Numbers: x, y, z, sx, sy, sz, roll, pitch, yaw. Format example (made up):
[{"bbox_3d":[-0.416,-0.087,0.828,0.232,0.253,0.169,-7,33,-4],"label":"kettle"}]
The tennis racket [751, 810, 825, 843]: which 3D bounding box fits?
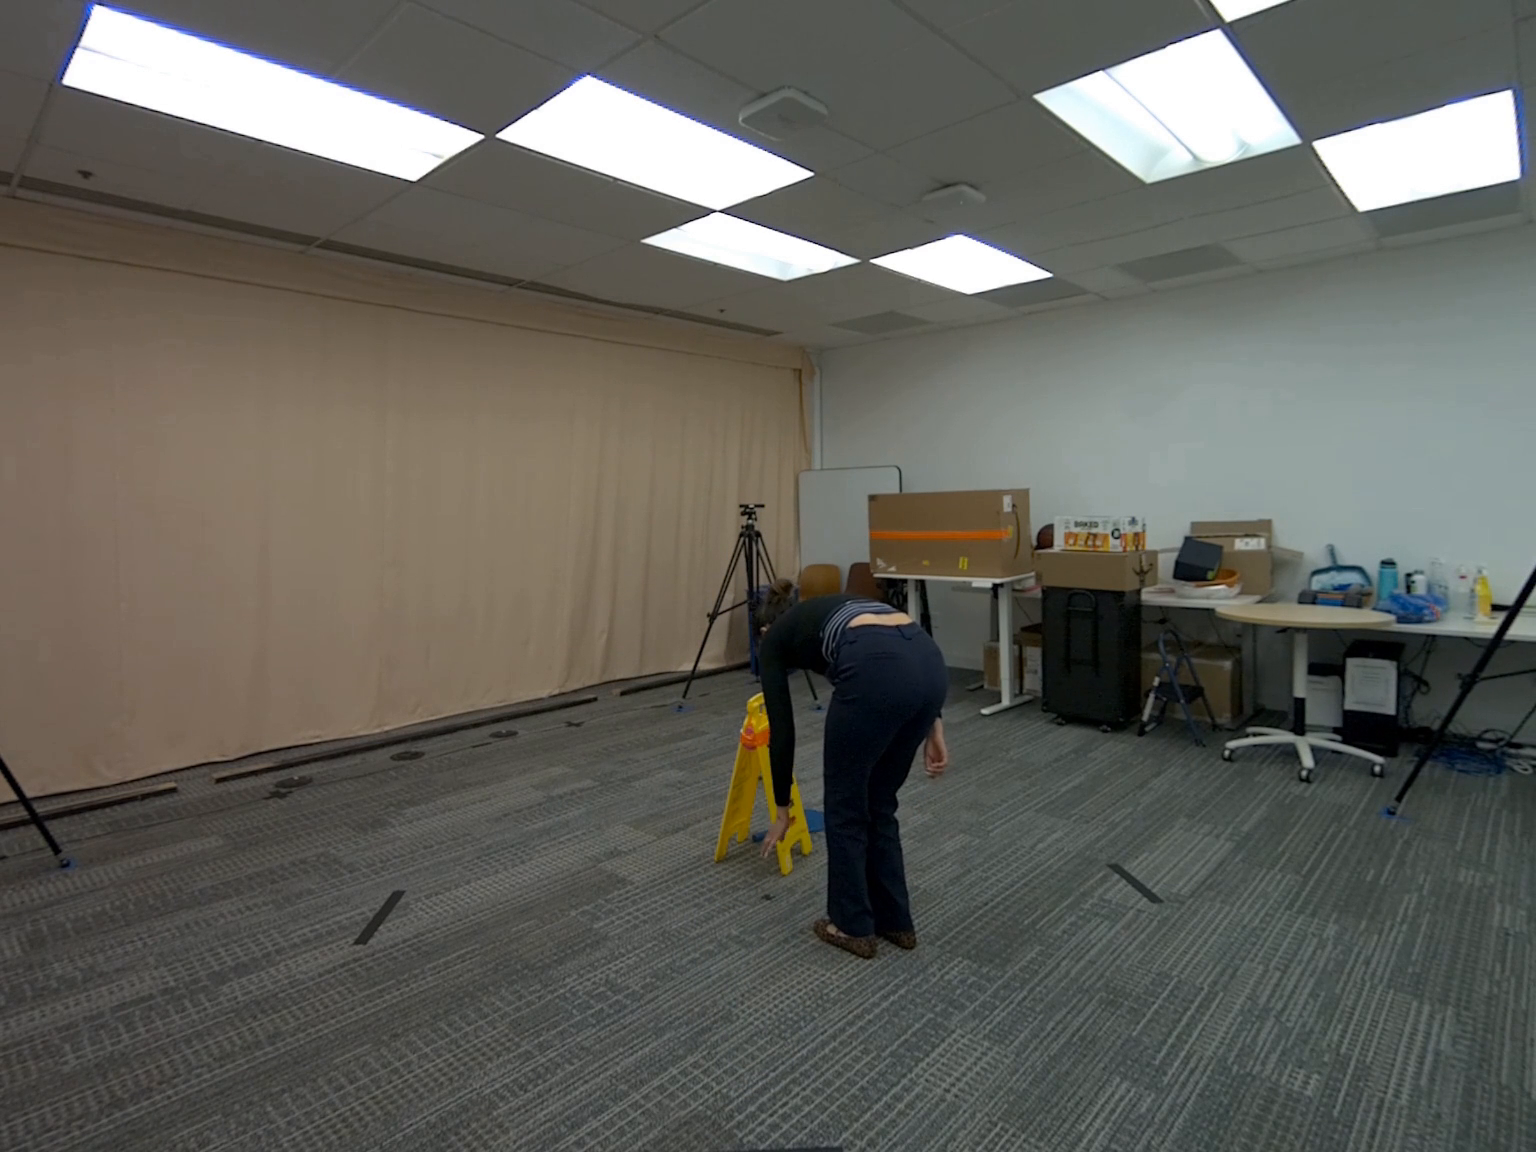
[{"bbox_3d":[0.087,1.068,3.592,0.420,0.032,0.221,-5,5,-42],"label":"tennis racket"}]
